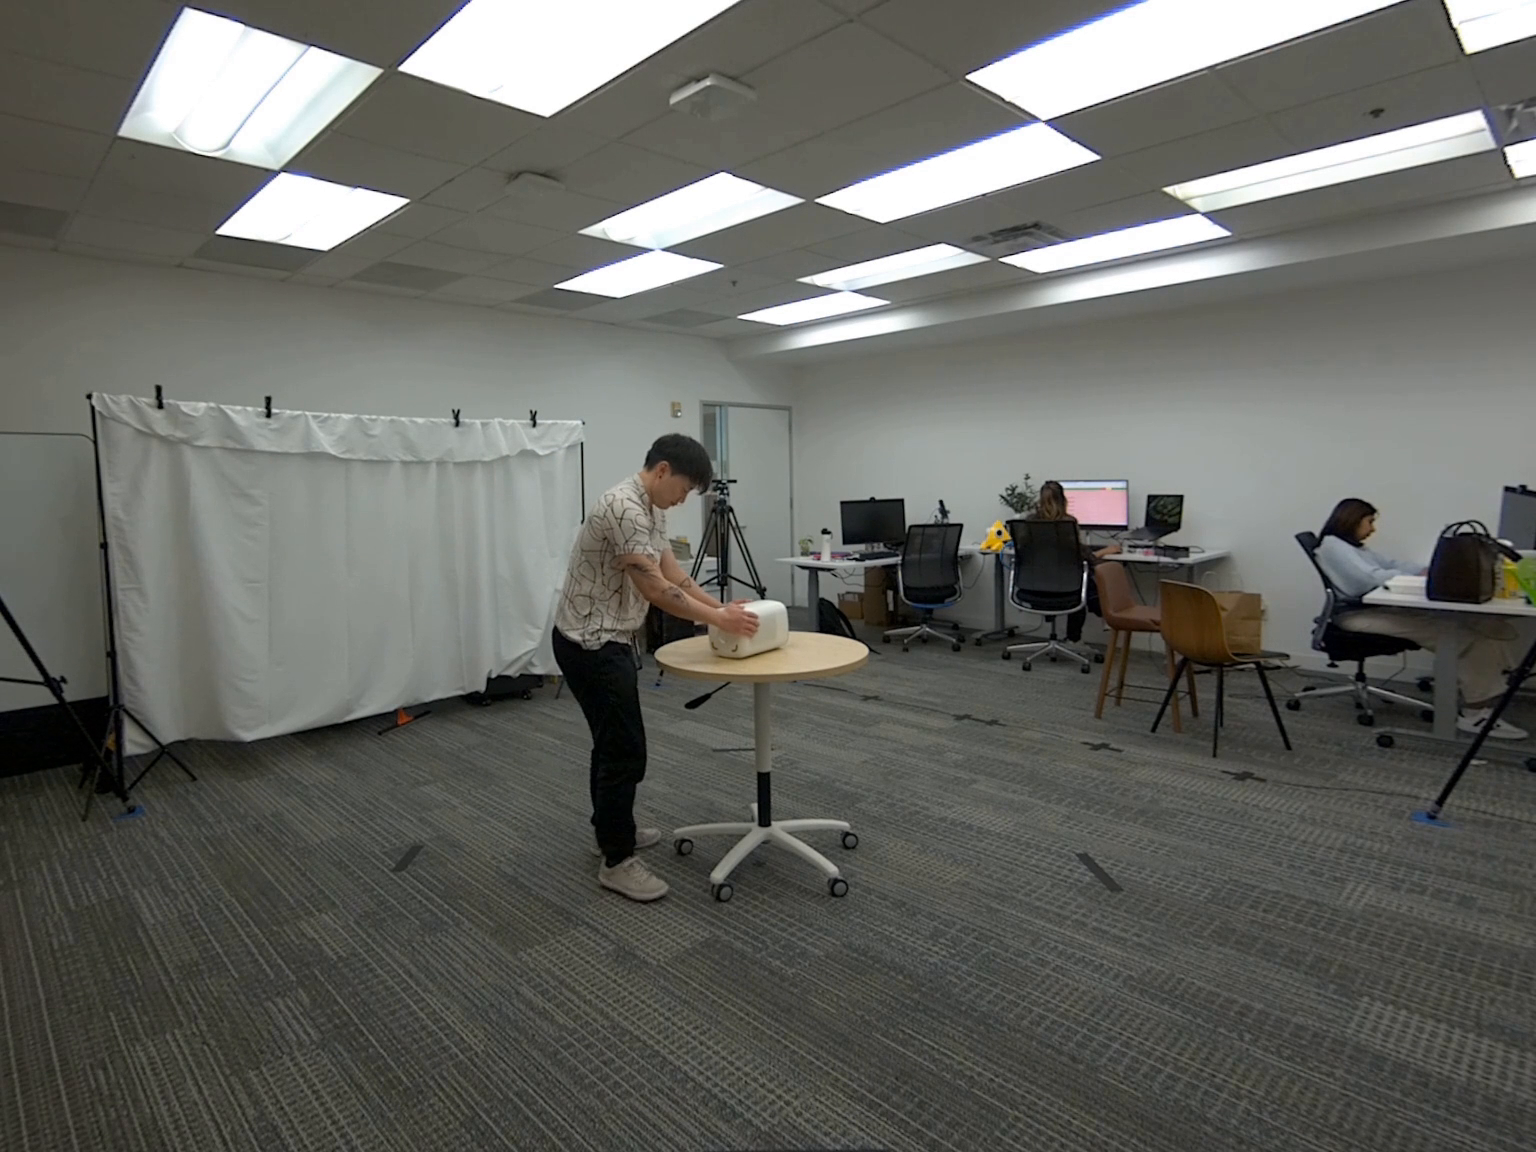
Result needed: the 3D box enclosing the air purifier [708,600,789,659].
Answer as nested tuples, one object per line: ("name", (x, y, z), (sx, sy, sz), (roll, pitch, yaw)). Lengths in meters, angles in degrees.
("air purifier", (-0.070, 0.183, 3.034), (0.176, 0.171, 0.259), (2, 6, 39))
